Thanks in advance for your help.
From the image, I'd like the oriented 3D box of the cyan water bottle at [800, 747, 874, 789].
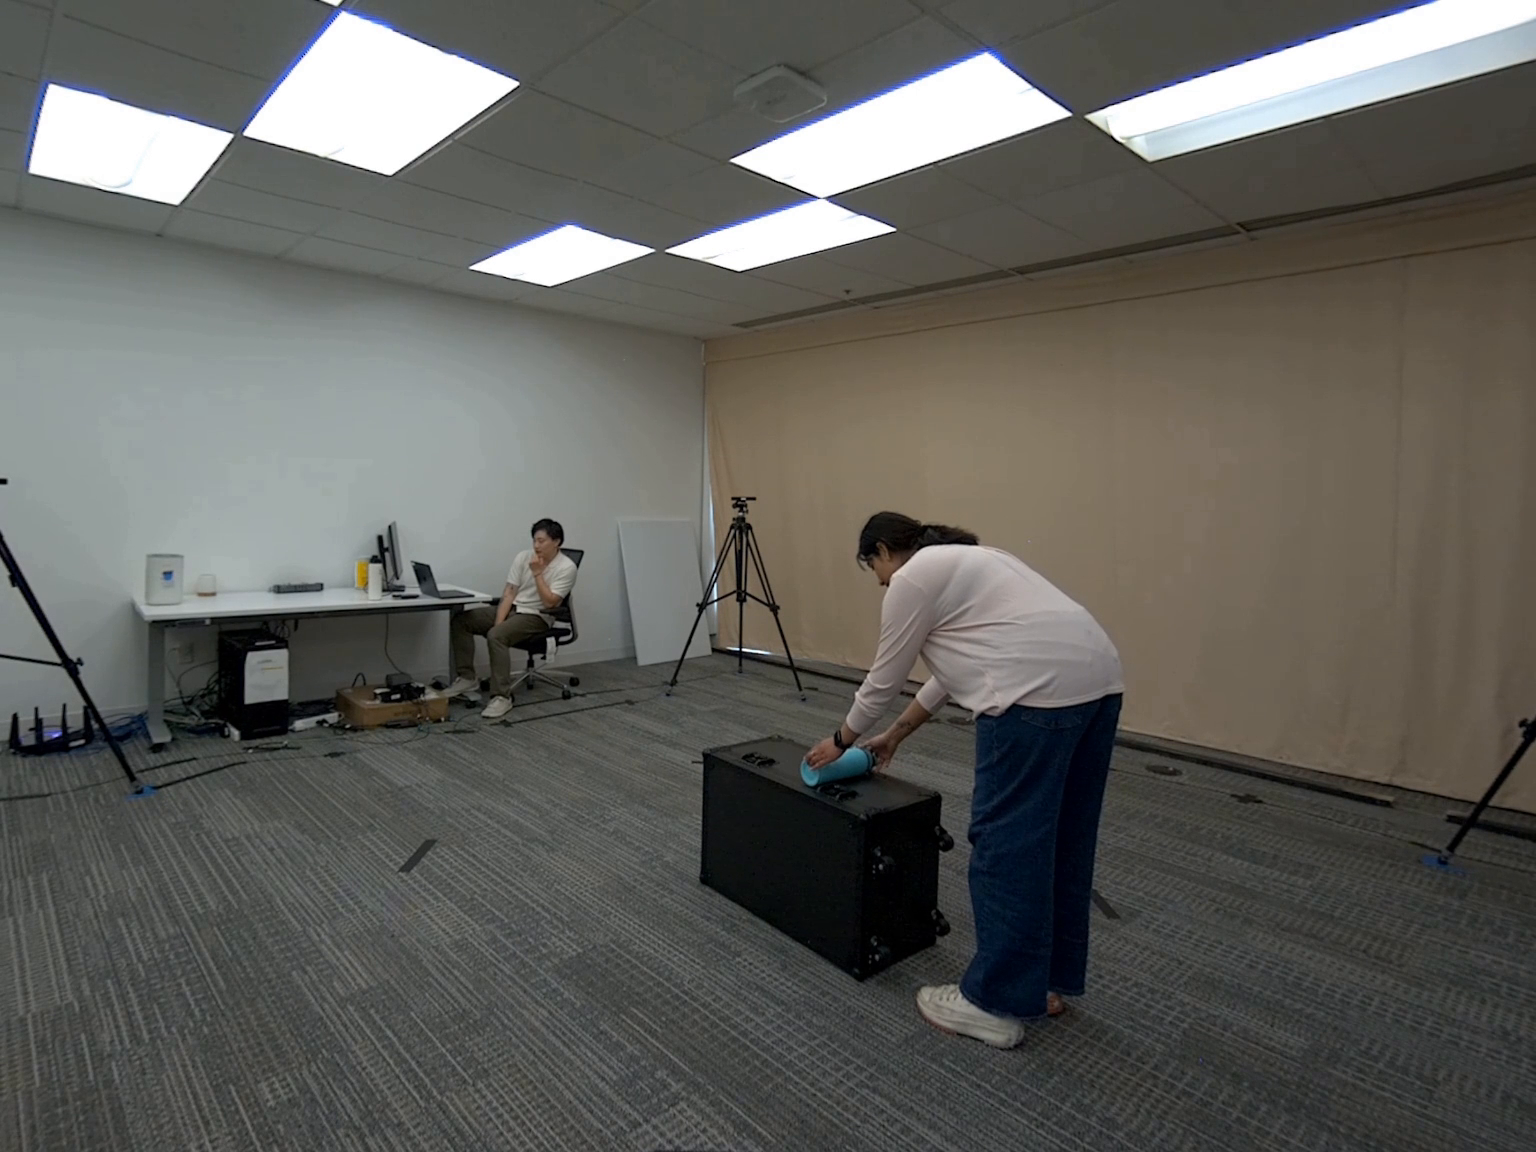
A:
[{"bbox_3d":[0.233,0.616,2.761,0.277,0.092,0.095,-2,6,-39],"label":"cyan water bottle"}]
